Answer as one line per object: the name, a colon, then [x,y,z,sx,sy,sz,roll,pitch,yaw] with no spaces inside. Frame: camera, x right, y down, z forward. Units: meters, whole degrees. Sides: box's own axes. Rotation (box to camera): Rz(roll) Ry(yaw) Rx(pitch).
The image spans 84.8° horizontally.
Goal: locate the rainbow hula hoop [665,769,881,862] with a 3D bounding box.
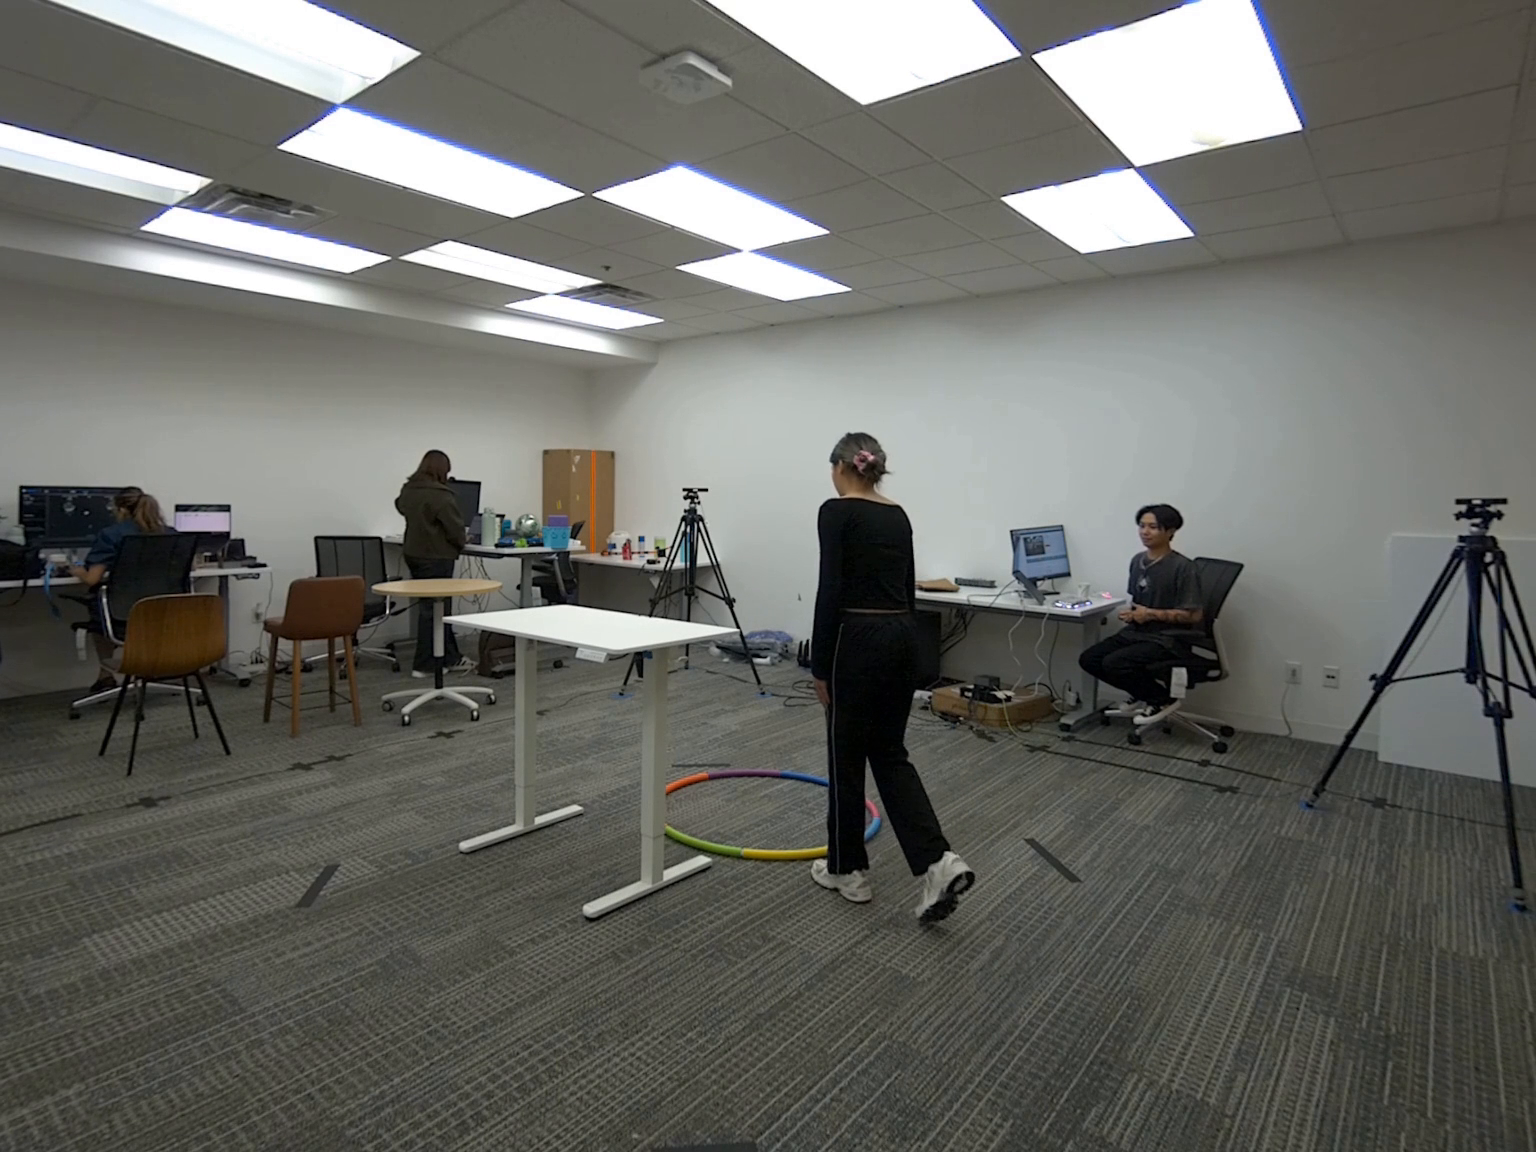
rainbow hula hoop: [-0.033,0.991,3.668,0.978,0.035,0.984,1,6,-2]
